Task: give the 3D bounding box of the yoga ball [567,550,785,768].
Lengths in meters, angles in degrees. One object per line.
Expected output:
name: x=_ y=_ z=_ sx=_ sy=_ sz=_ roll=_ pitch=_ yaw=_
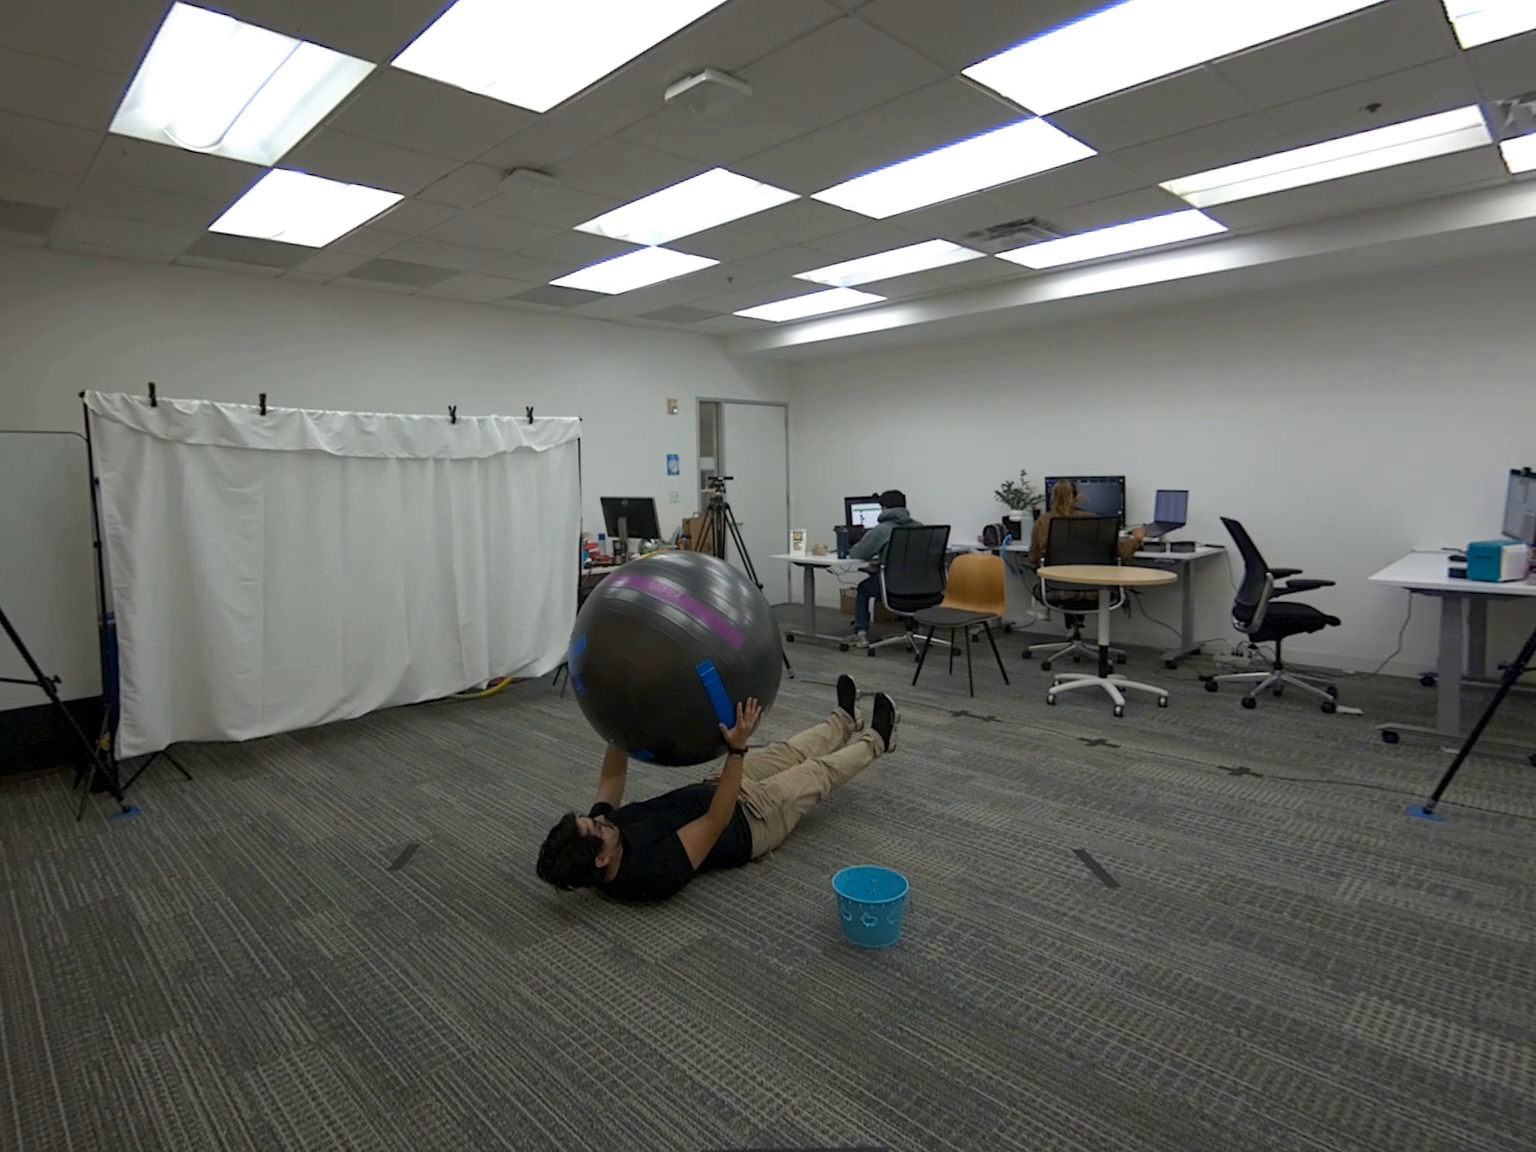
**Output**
yoga ball: x=-0.329 y=0.293 z=3.038 sx=0.757 sy=0.755 sz=0.761 roll=-1 pitch=4 yaw=-2
